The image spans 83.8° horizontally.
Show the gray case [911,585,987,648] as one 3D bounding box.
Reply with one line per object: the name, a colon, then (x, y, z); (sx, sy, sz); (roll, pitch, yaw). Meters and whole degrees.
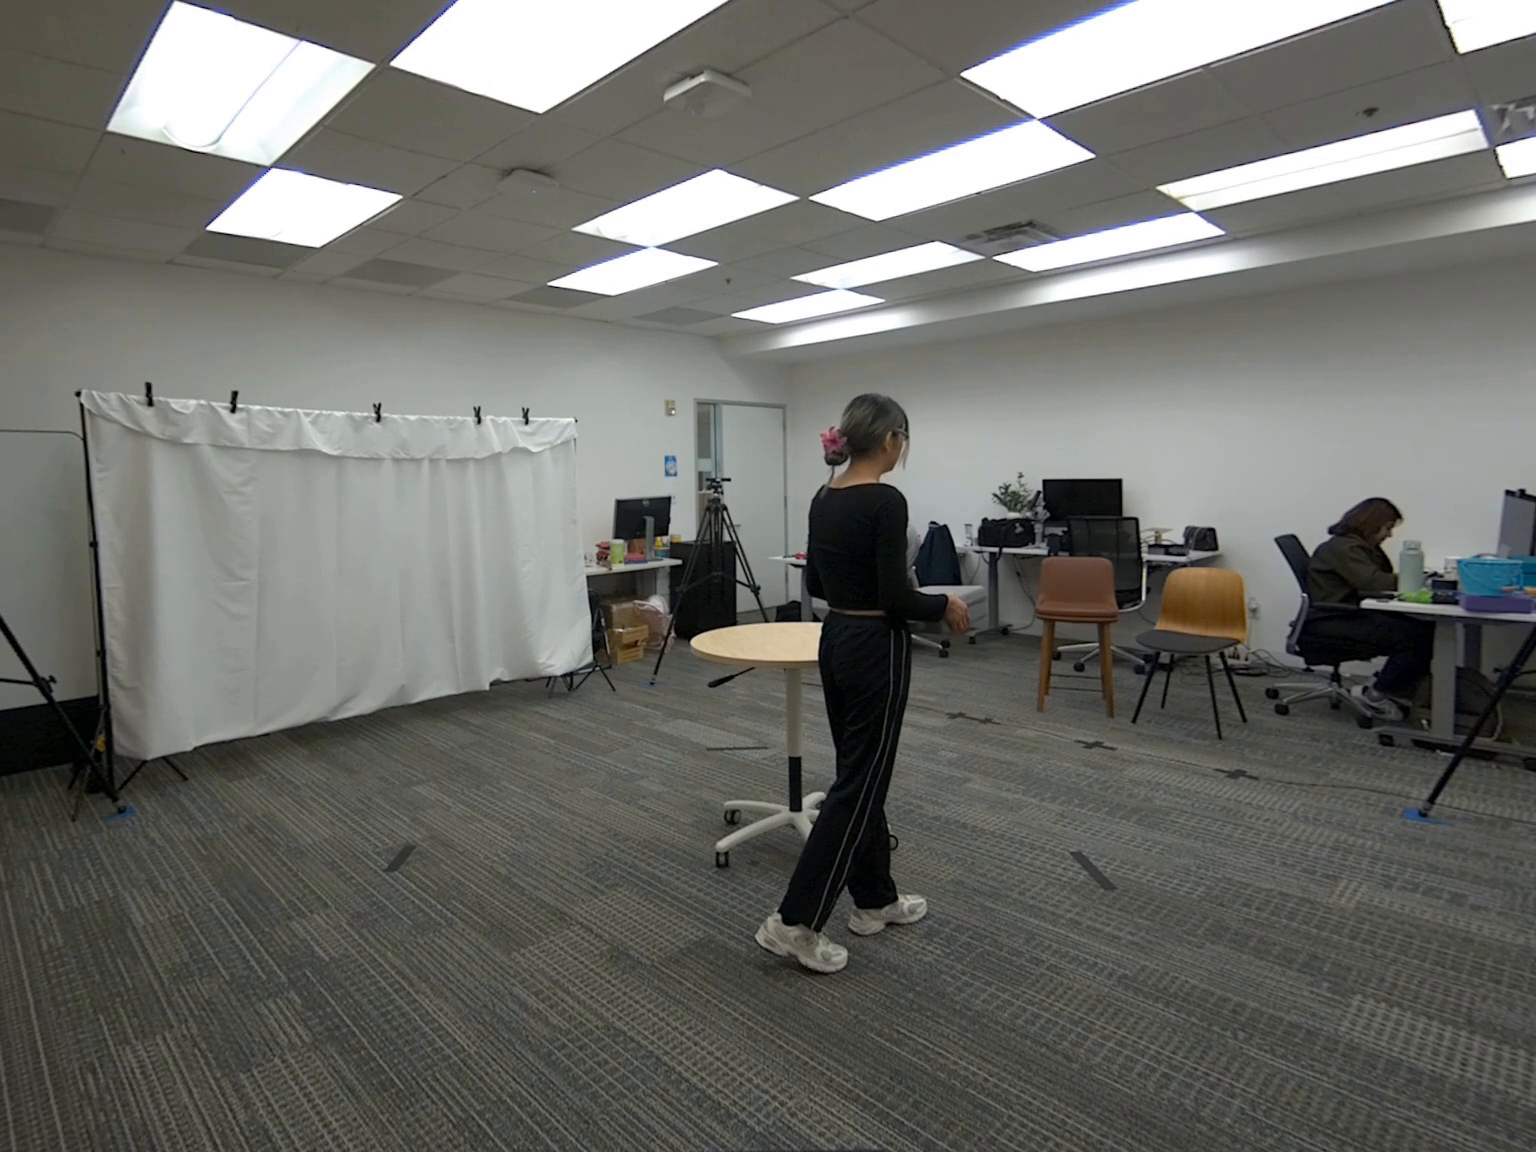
gray case: (0.536, 0.106, 2.706); (0.255, 0.103, 0.264); (-17, 11, -40)
